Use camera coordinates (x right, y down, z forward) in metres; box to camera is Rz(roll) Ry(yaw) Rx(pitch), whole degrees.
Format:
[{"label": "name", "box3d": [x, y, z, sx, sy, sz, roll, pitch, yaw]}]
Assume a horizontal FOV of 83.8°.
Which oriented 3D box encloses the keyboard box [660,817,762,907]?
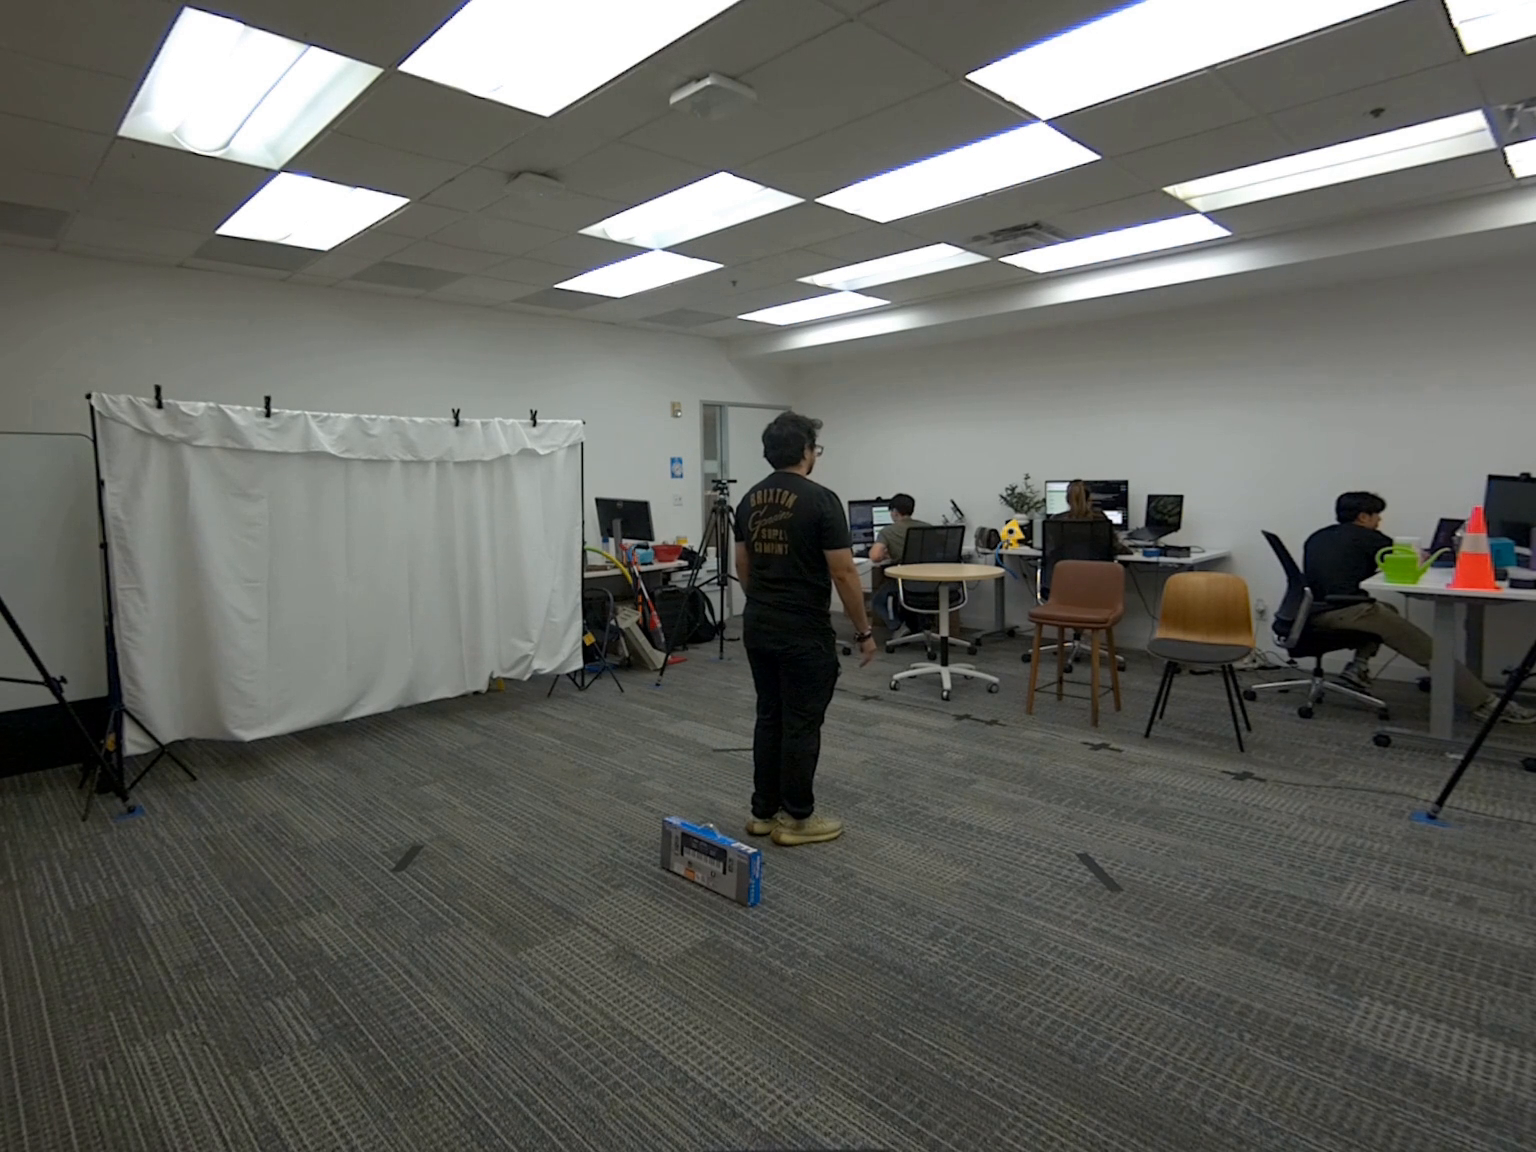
[{"label": "keyboard box", "box3d": [-0.202, 0.981, 2.956, 0.450, 0.176, 0.057, 5, 3, 43]}]
